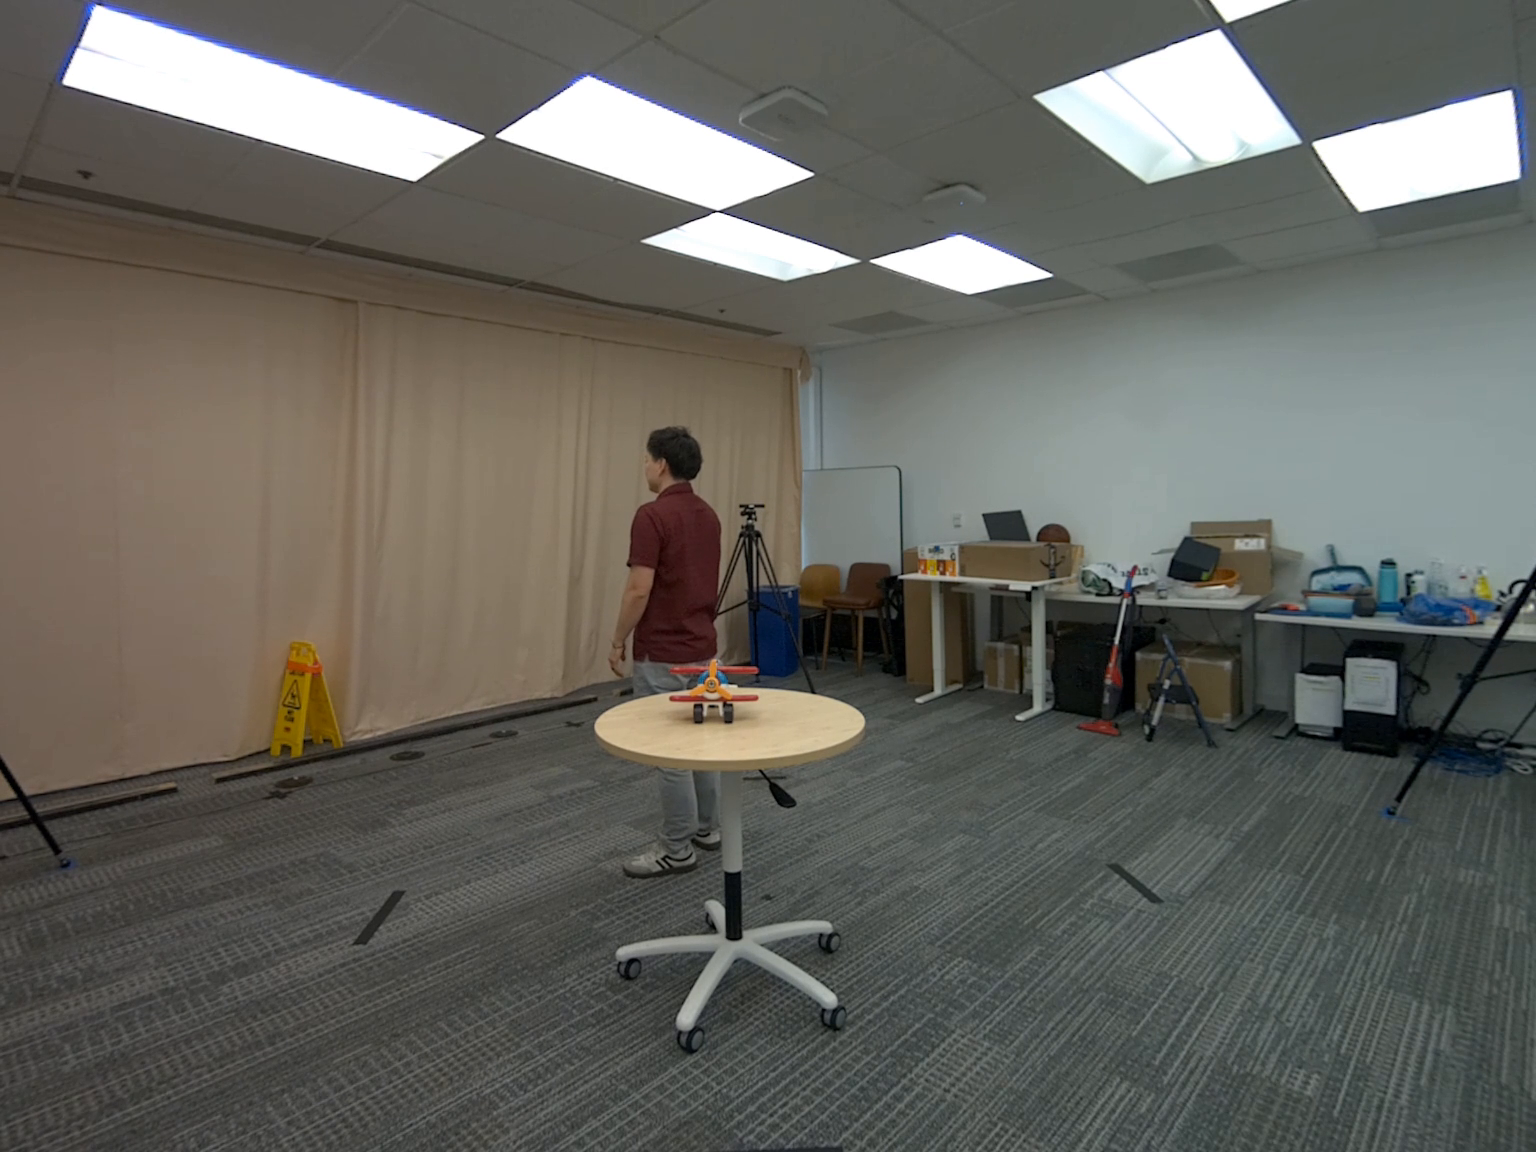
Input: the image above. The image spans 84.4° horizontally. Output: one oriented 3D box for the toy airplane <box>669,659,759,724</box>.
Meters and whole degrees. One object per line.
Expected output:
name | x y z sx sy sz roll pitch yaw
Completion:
toy airplane | -0.168 0.329 2.439 0.245 0.156 0.267 -4 6 -28
